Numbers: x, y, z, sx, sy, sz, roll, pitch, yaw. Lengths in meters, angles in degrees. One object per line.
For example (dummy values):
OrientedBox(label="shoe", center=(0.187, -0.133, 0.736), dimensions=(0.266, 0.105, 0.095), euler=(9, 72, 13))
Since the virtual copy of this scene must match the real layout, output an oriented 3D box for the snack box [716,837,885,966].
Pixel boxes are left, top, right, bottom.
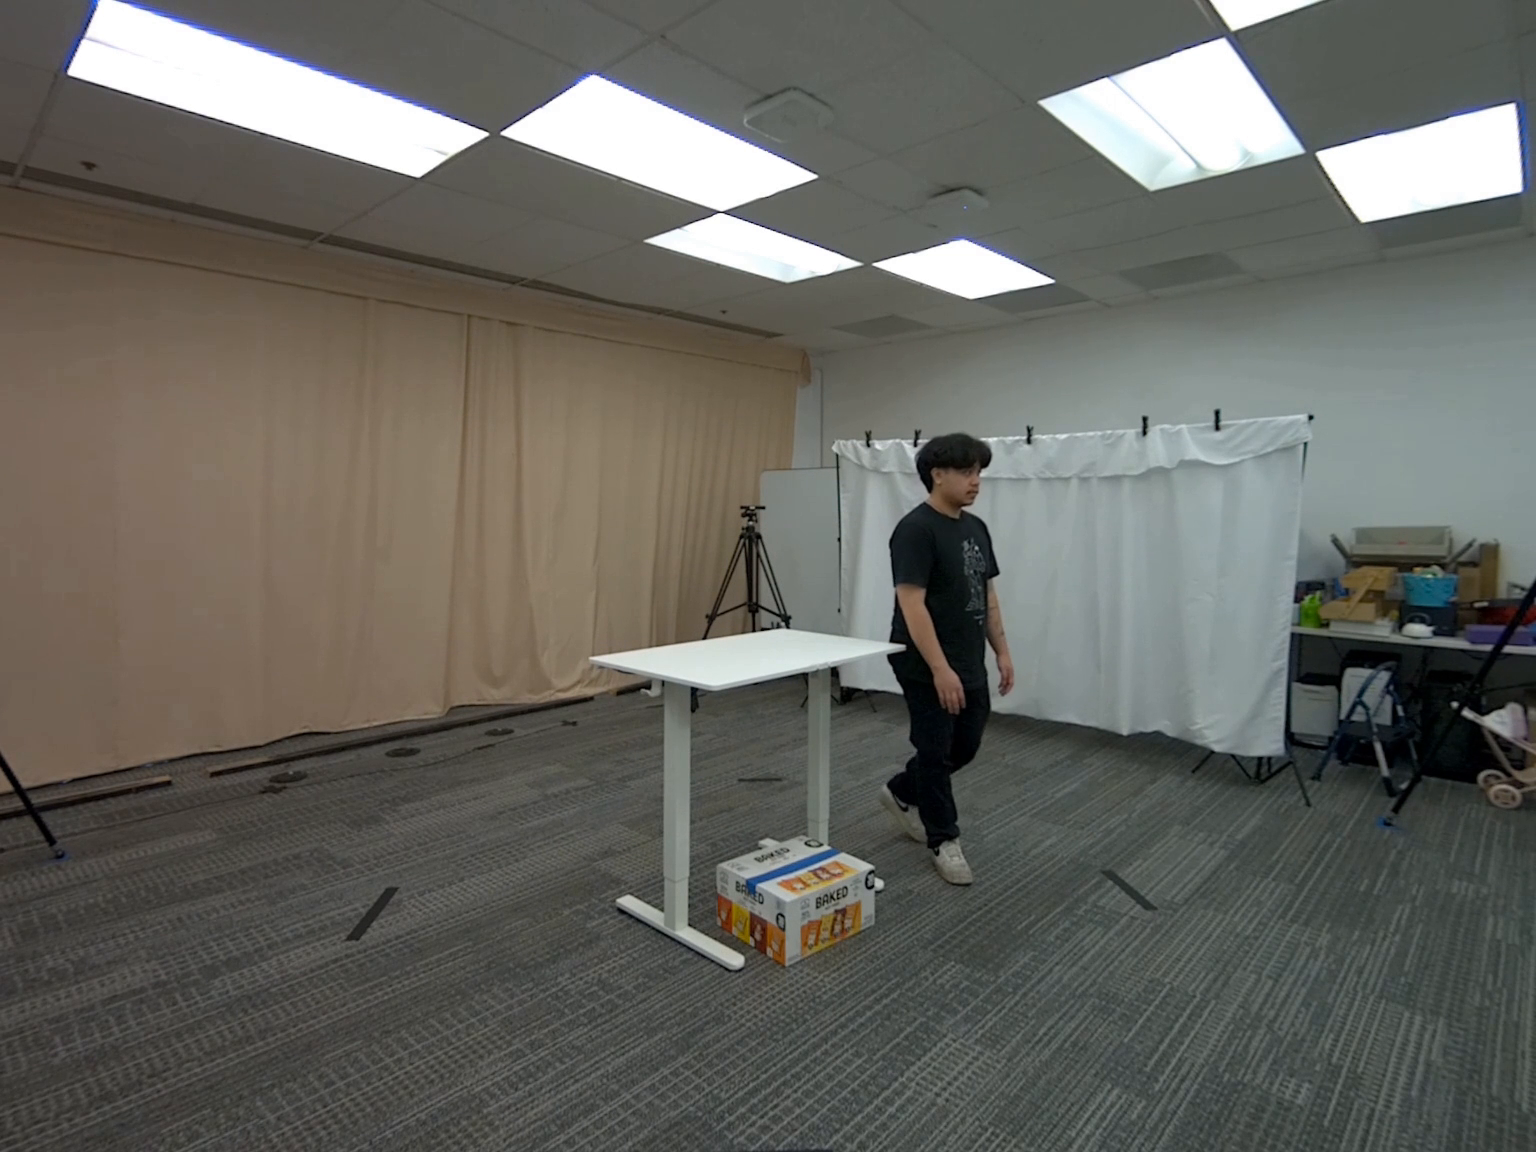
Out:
OrientedBox(label="snack box", center=(0.093, 1.061, 2.786), dimensions=(0.393, 0.205, 0.351), euler=(-4, 6, -40))
